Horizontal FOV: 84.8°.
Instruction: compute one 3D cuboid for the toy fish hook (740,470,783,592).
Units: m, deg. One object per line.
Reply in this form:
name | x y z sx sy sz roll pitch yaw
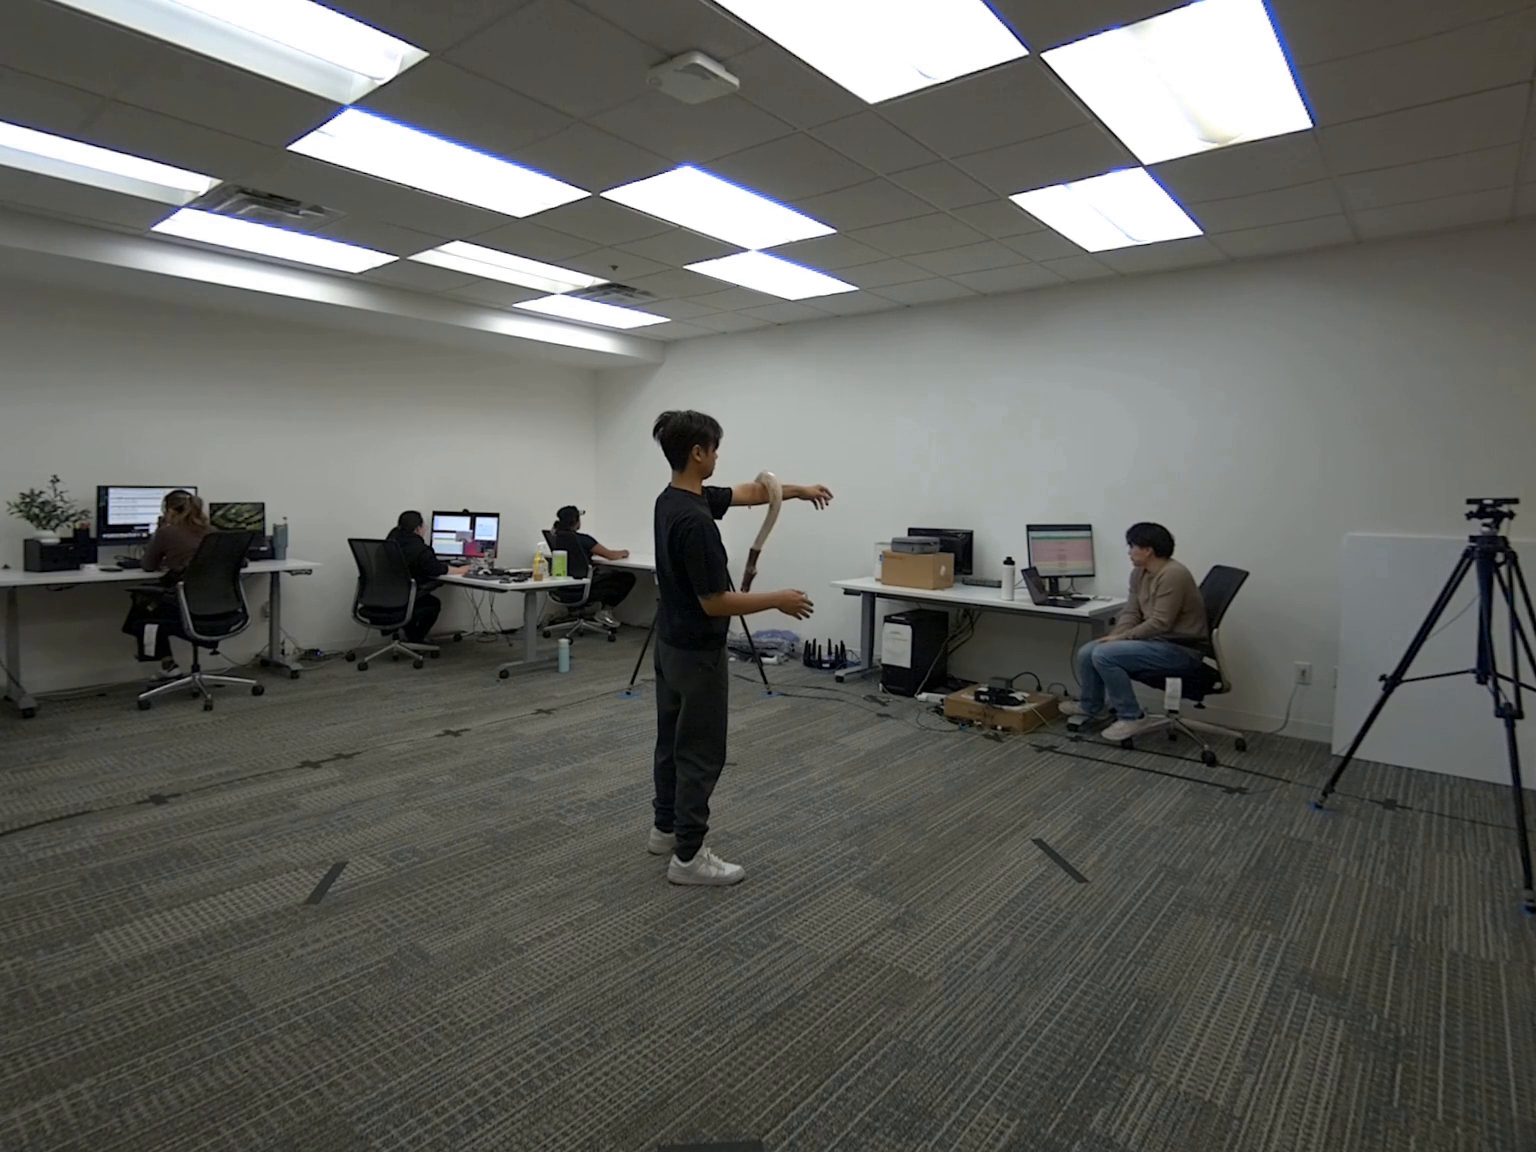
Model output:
toy fish hook | -0.059 -0.185 3.407 0.047 0.500 0.234 5 26 -28
